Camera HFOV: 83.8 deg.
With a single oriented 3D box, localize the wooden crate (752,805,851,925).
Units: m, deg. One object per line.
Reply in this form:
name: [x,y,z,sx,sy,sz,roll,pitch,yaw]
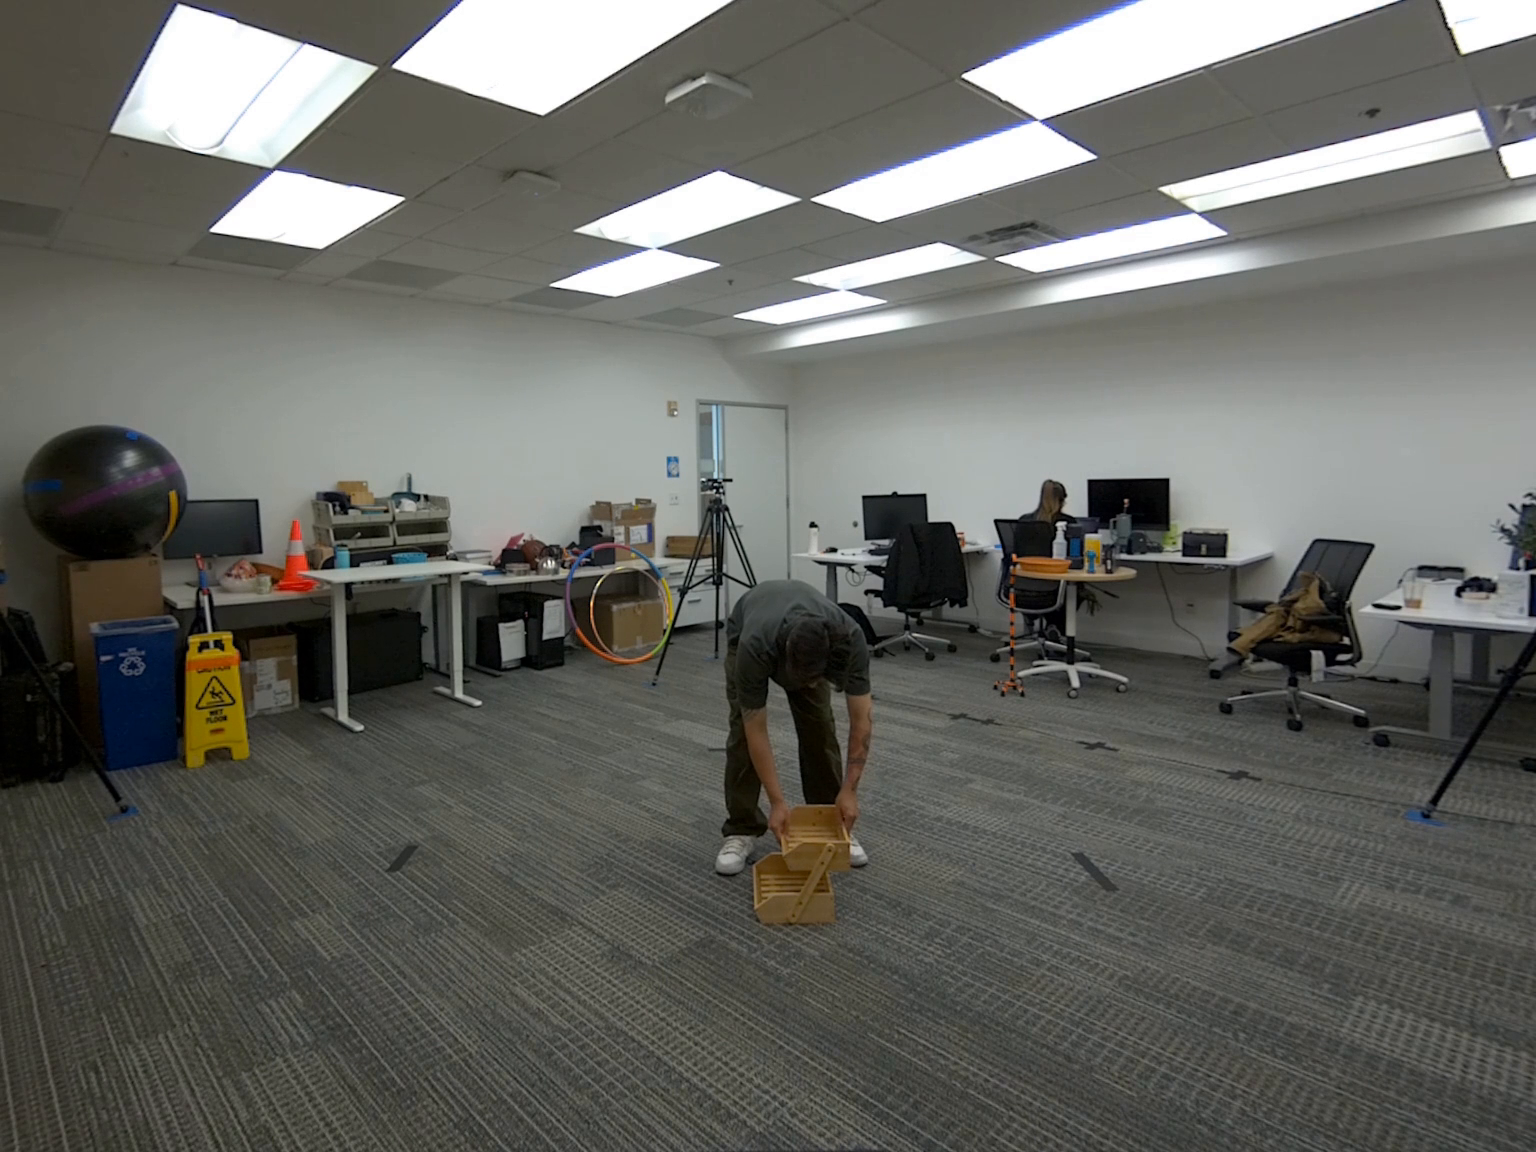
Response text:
wooden crate: [0.098,0.943,2.821,0.302,0.272,0.326,0,6,0]
